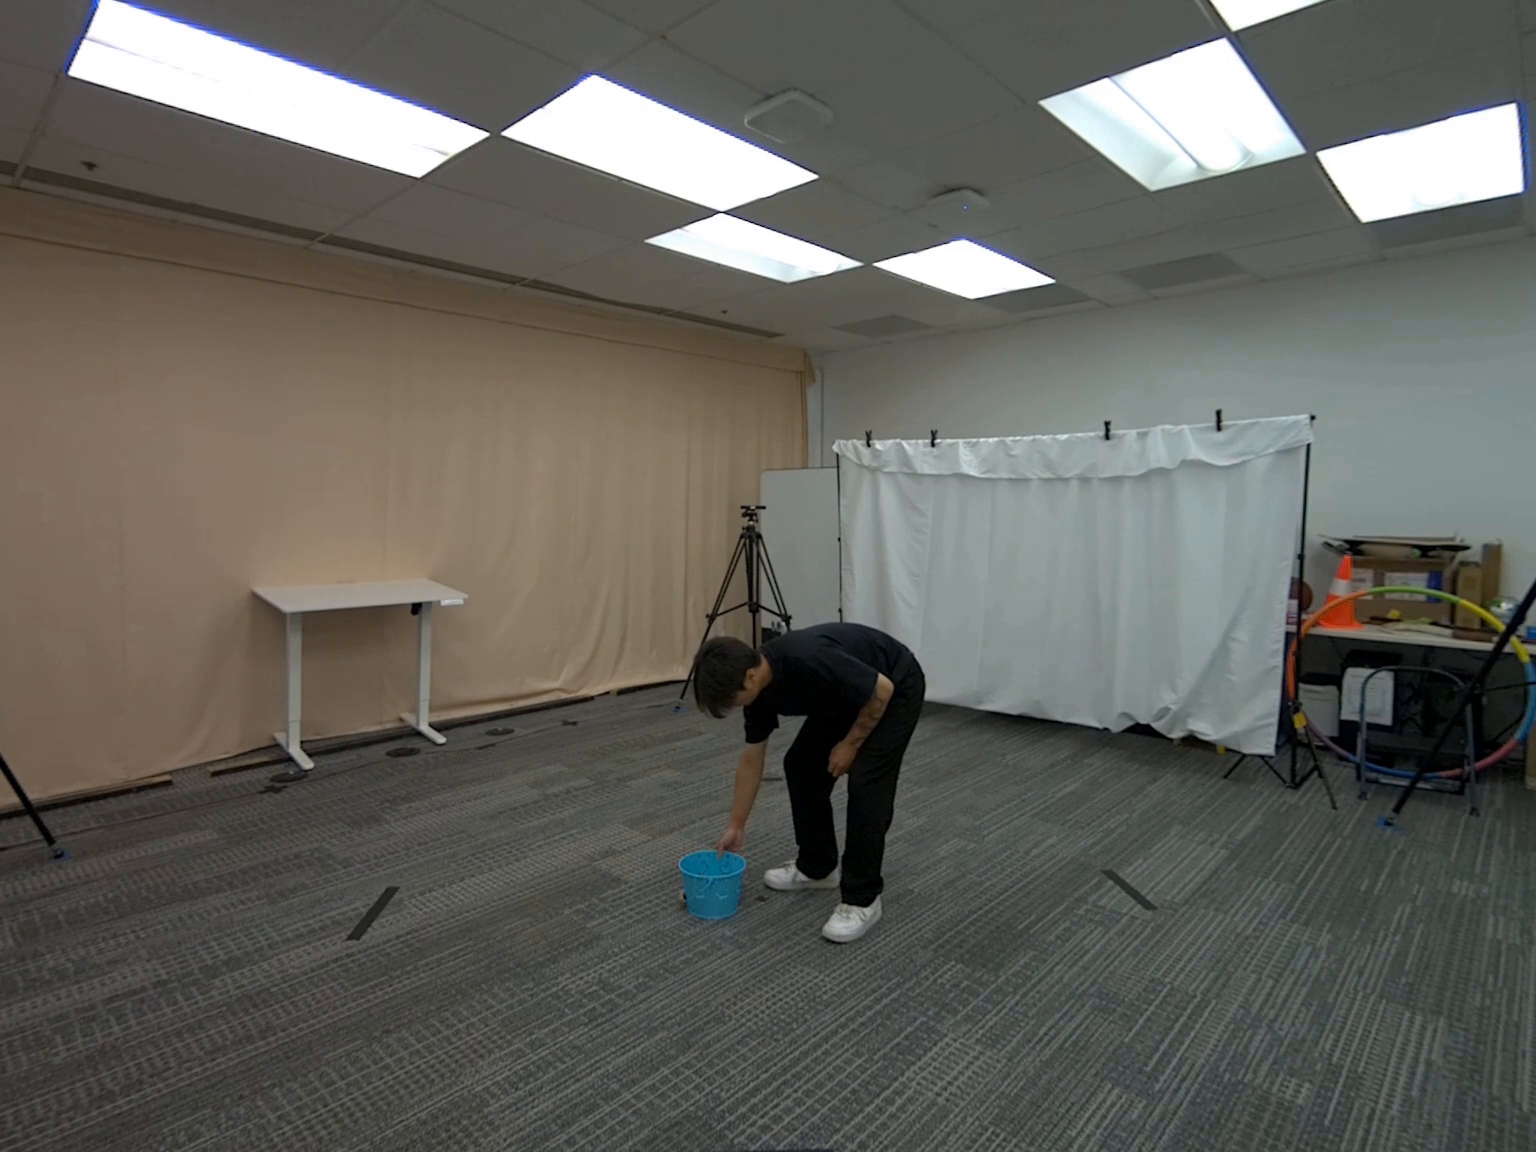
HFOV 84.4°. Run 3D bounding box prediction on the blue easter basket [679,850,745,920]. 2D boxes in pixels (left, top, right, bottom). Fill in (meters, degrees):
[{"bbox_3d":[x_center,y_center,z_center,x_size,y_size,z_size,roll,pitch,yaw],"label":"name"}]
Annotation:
[{"bbox_3d":[-0.197,1.073,2.929,0.243,0.155,0.244,-1,4,-2],"label":"blue easter basket"}]
